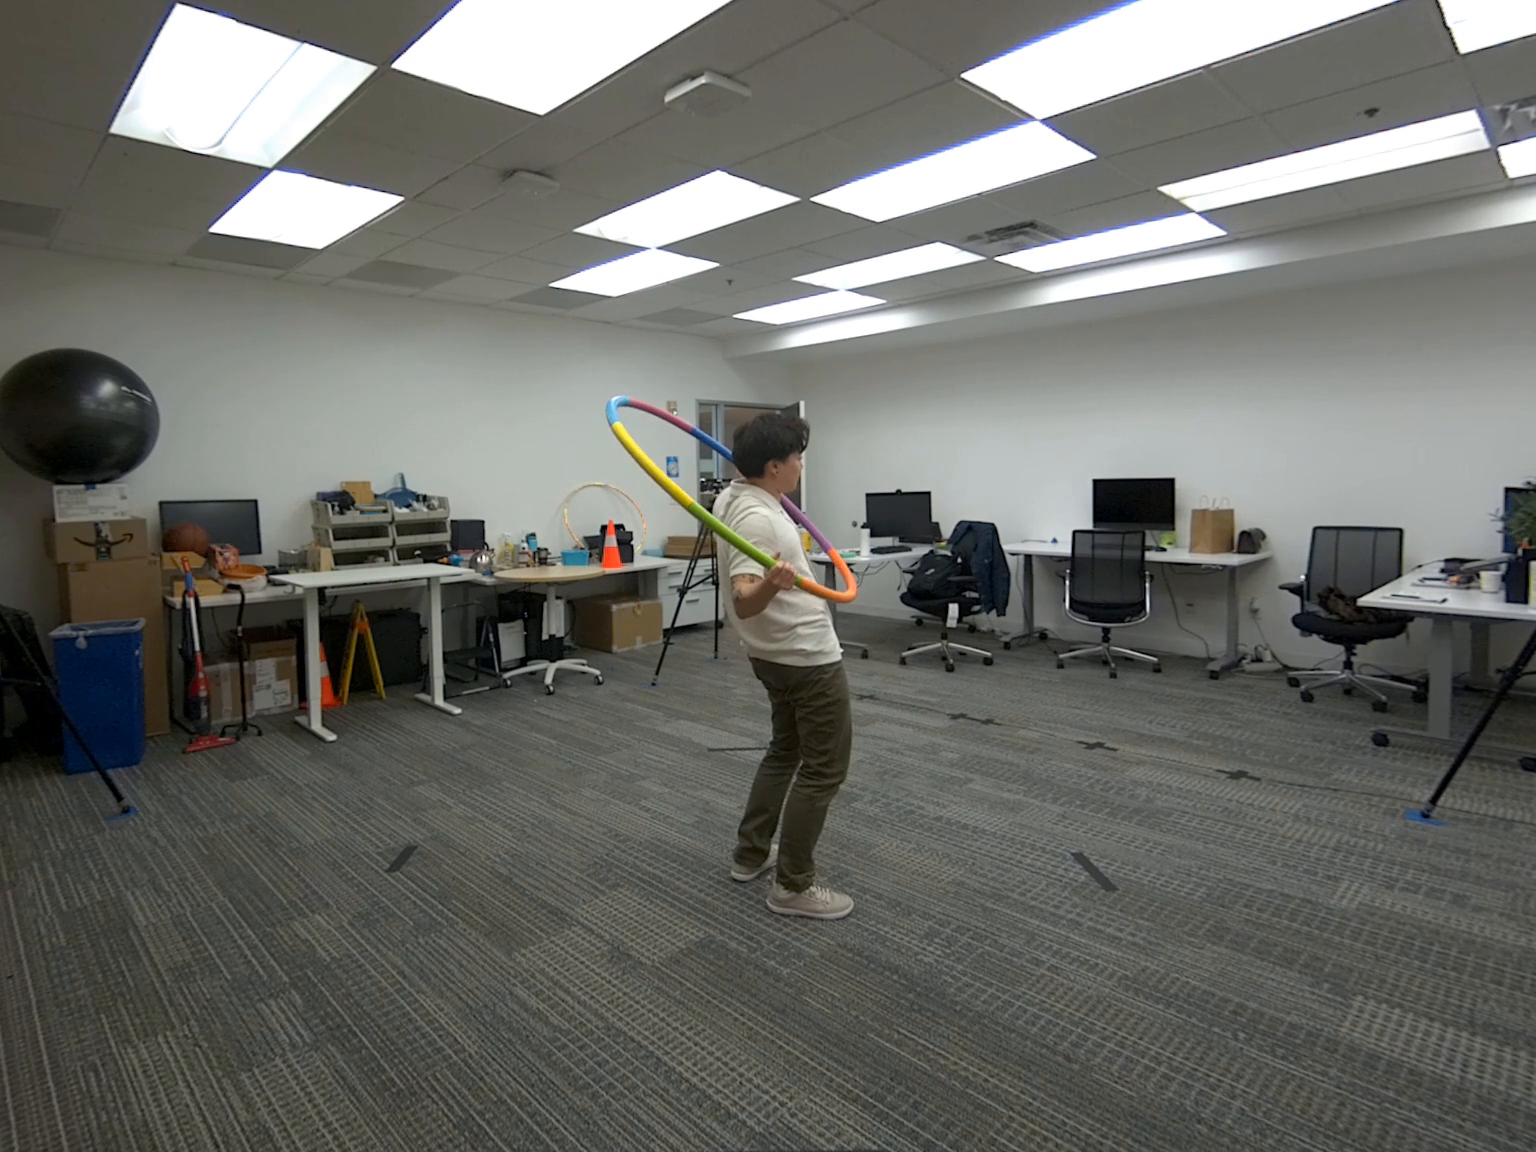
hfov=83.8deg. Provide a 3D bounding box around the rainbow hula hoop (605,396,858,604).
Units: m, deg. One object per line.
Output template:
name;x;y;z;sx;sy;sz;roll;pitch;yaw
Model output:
rainbow hula hoop;-0.103;-0.254;2.725;0.963;0.035;0.997;34;16;-13
